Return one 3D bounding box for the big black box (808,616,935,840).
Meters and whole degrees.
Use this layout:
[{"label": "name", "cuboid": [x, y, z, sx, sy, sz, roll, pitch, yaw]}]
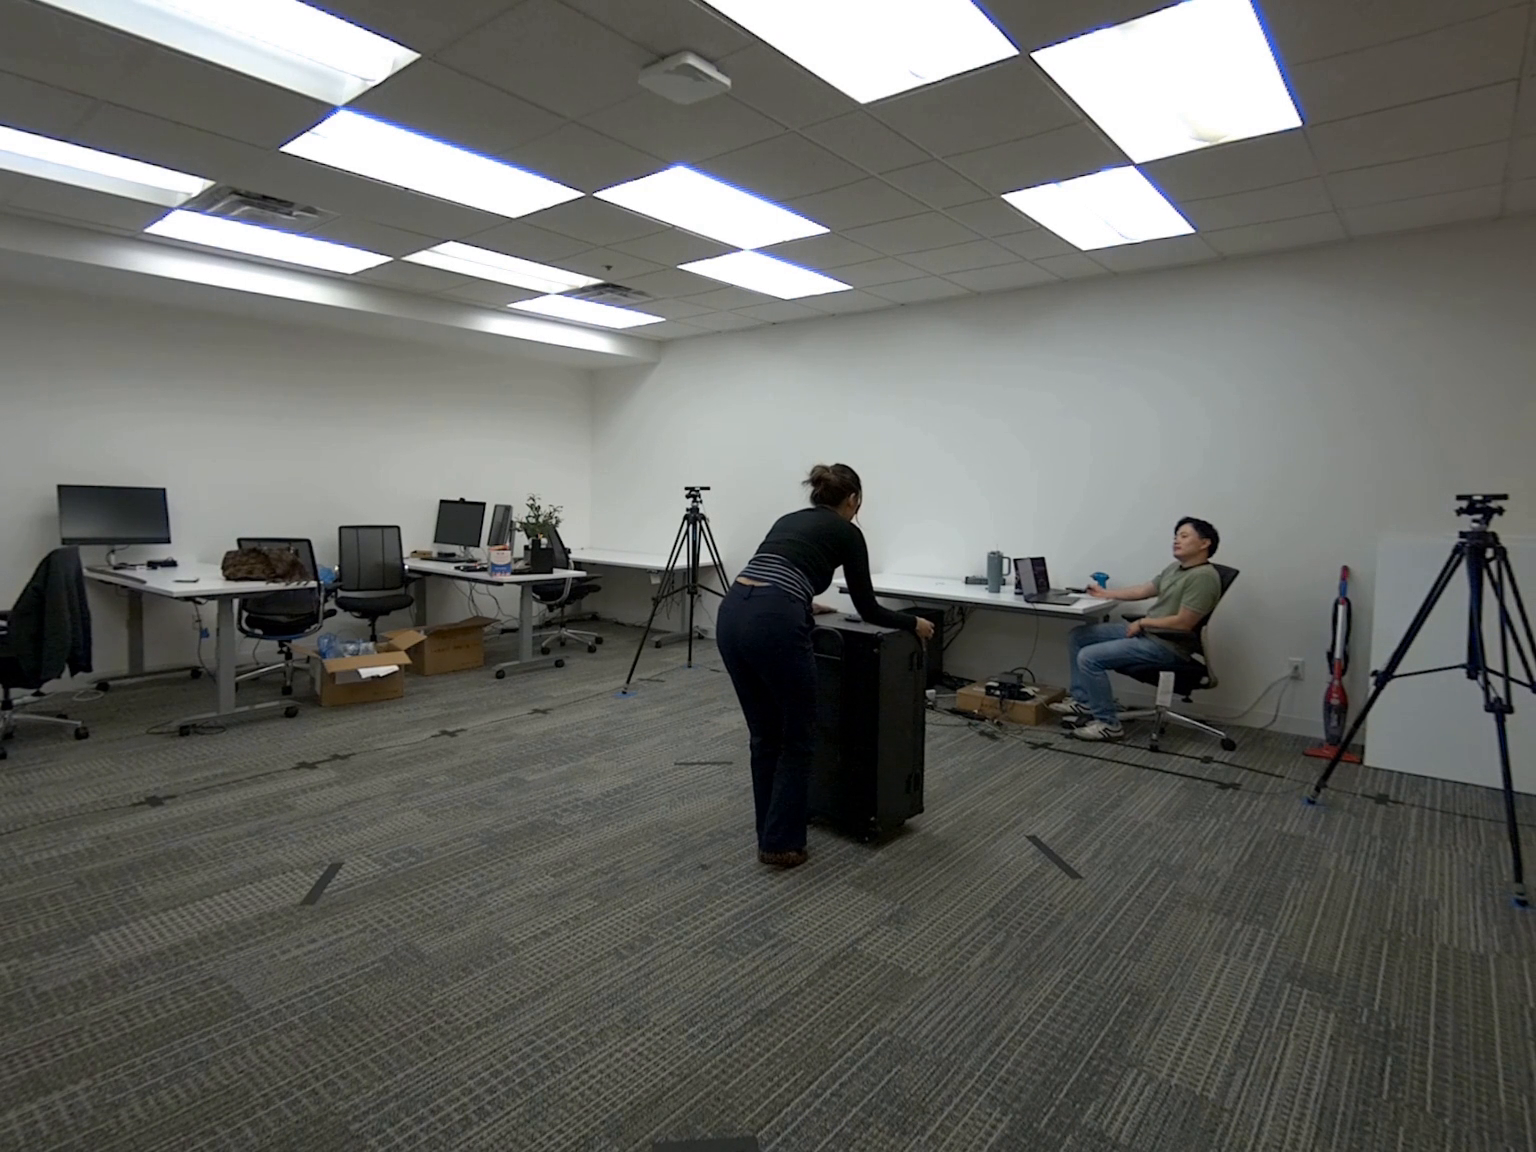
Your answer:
[{"label": "big black box", "cuboid": [0.340, 0.608, 3.512, 0.539, 0.858, 0.385, 4, 6, 42]}]
